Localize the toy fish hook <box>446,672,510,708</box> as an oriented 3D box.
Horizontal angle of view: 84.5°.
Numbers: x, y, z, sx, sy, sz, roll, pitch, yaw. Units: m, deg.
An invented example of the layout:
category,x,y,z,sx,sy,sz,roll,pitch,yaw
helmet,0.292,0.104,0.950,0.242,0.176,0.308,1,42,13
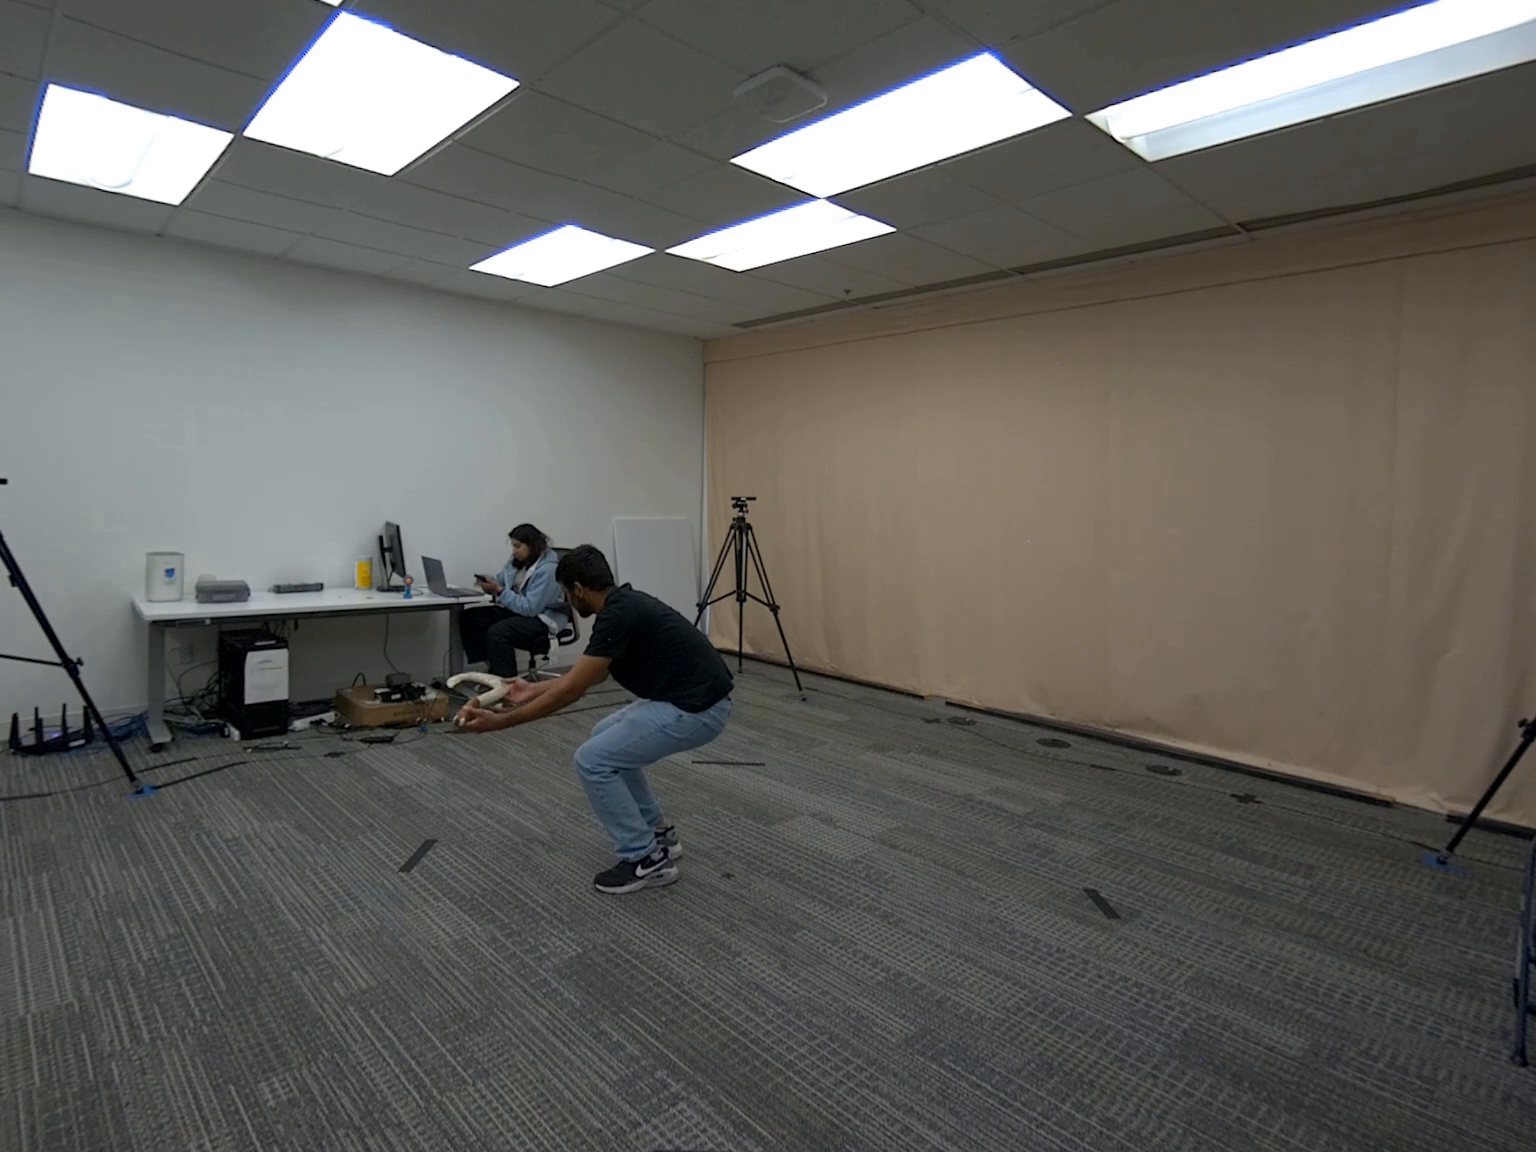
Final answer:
category,x,y,z,sx,sy,sz,roll,pitch,yaw
toy fish hook,-1.104,0.447,3.105,0.225,0.048,0.509,9,8,-1
